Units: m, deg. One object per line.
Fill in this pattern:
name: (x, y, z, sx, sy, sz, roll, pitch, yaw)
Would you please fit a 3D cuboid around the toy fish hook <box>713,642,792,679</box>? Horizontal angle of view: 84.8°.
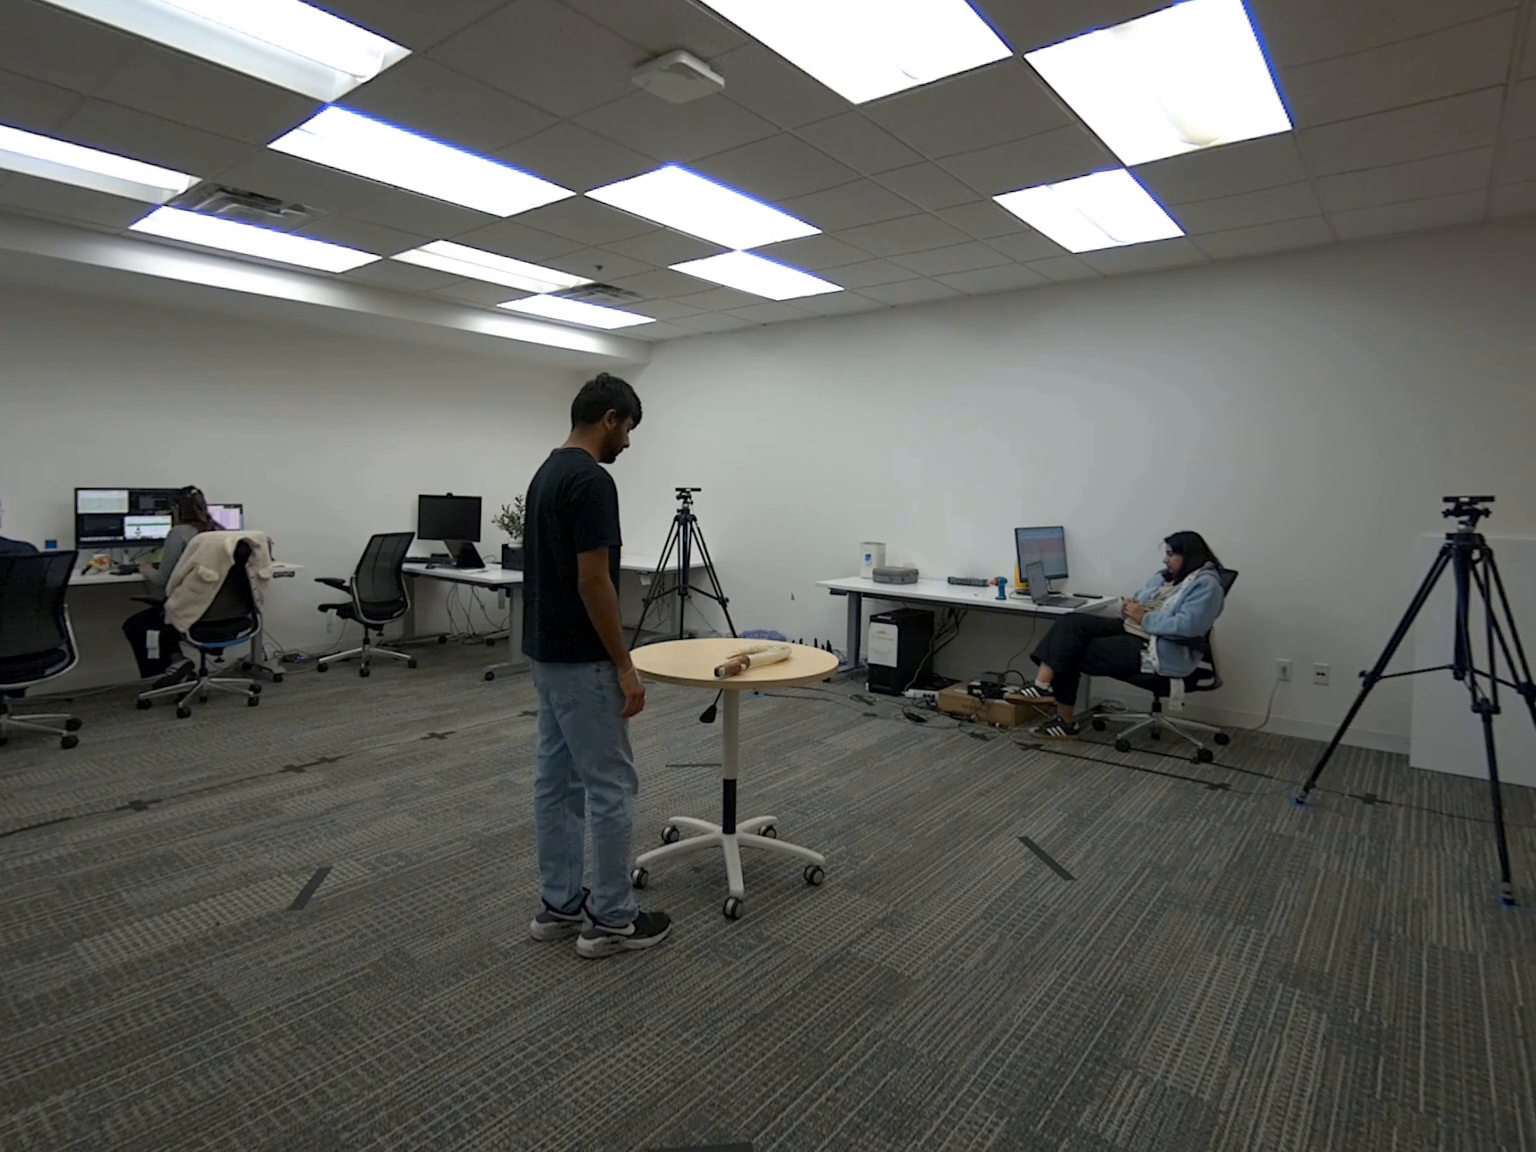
toy fish hook: (-0.097, 0.289, 2.934, 0.230, 0.048, 0.495, -1, 4, 26)
